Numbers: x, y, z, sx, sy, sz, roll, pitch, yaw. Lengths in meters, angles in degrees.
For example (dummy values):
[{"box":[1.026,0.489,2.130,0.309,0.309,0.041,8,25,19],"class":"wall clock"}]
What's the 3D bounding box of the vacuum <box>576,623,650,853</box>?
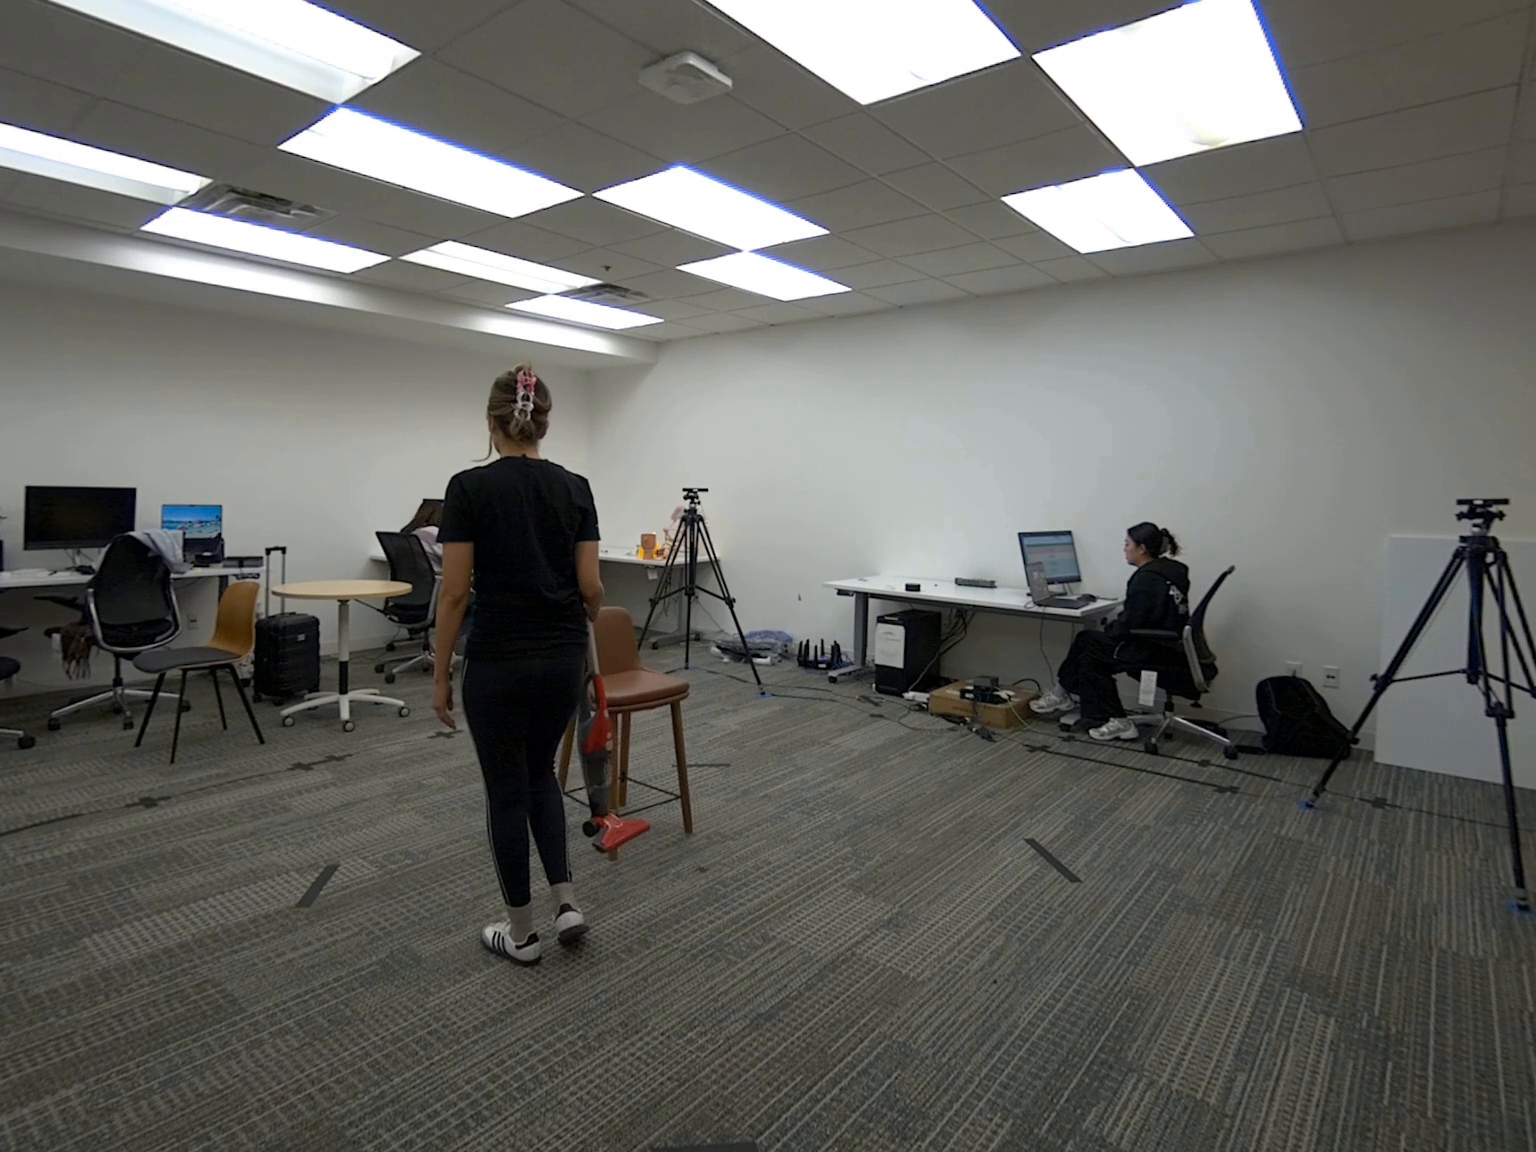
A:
[{"box":[-0.605,0.322,2.813,0.147,1.058,0.245,-14,-8,28],"class":"vacuum"}]
